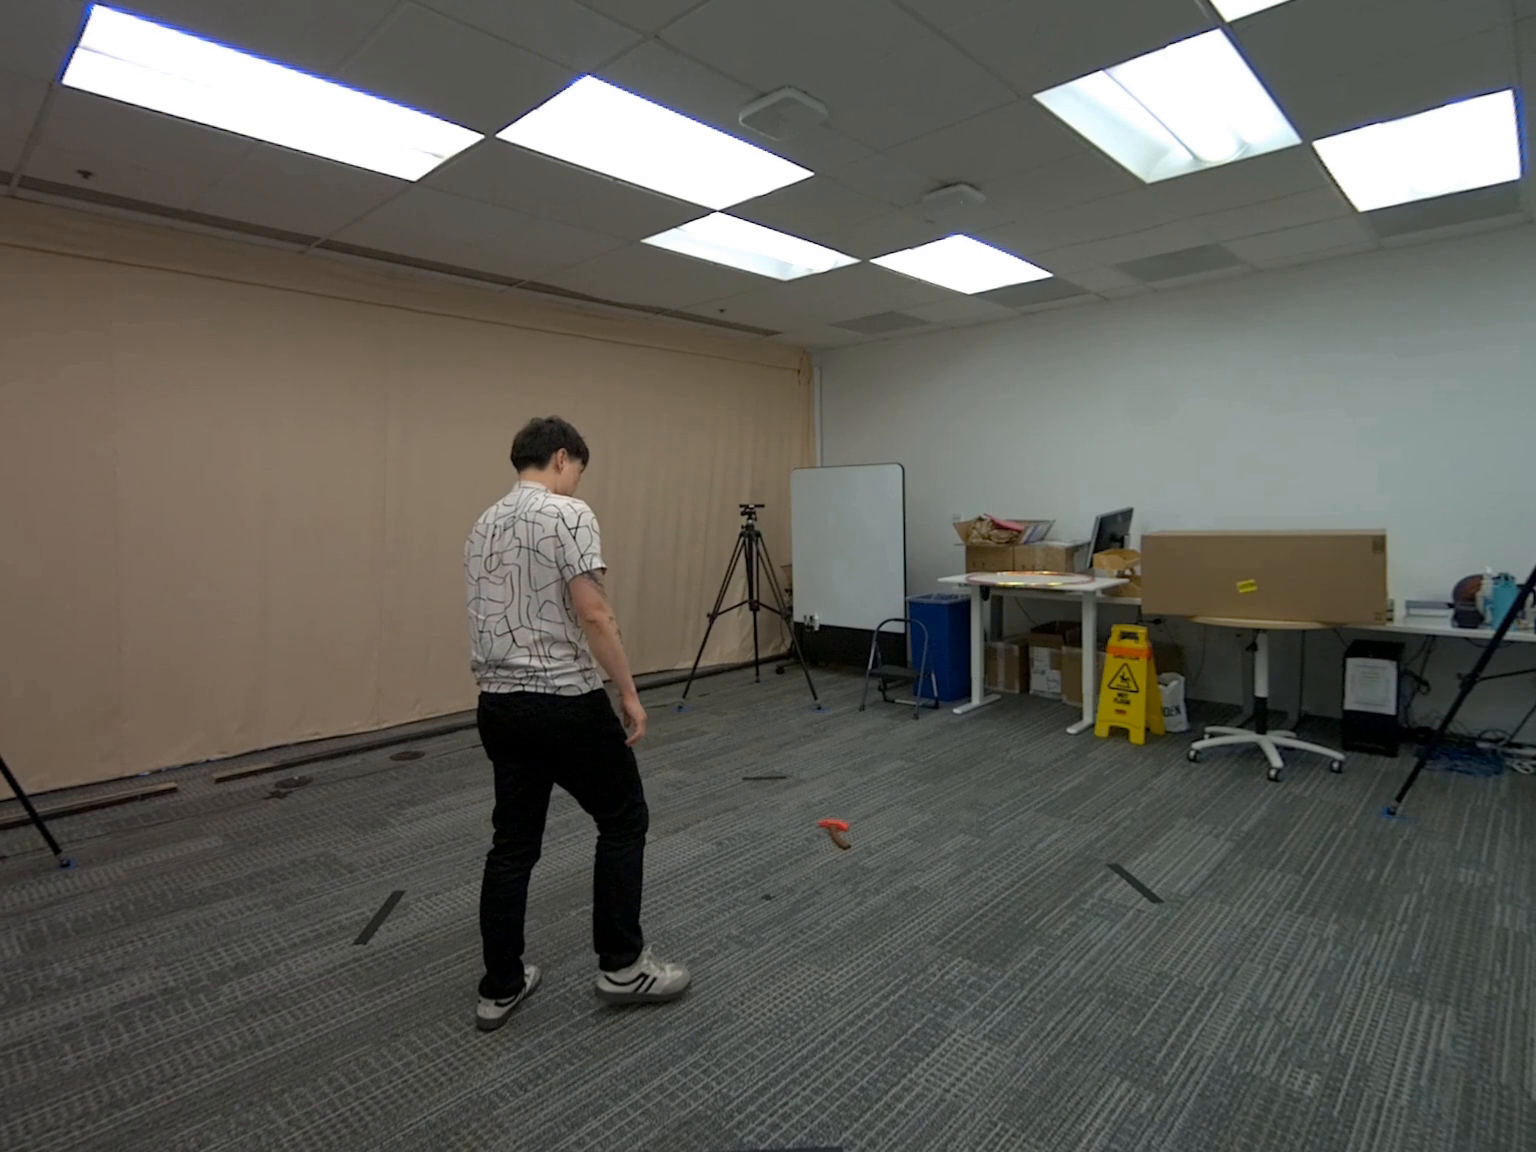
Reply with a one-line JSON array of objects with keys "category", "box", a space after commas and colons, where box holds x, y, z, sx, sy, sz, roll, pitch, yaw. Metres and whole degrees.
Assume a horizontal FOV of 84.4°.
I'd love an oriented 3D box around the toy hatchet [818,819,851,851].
[{"category": "toy hatchet", "box": [0.317, 1.076, 3.515, 0.128, 0.029, 0.276, 1, 6, -20]}]
